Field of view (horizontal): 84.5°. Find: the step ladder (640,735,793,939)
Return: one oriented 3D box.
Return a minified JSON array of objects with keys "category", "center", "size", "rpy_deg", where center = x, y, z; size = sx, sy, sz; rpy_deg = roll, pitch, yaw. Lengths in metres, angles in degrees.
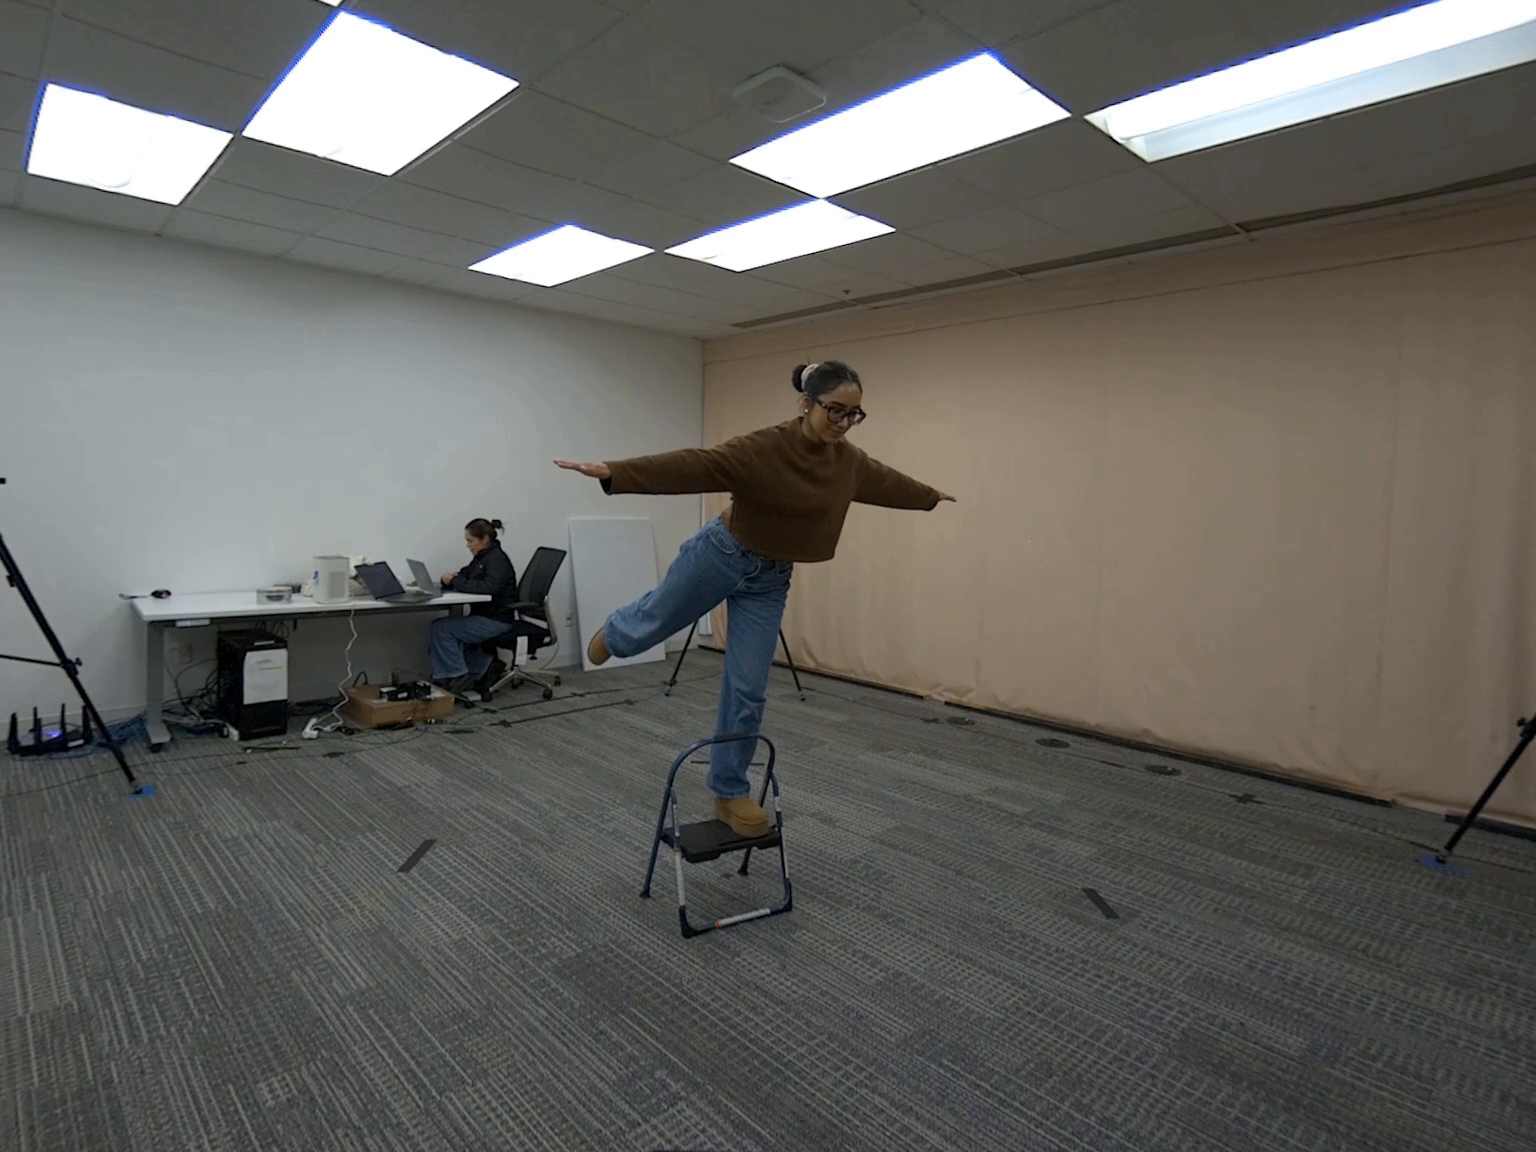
[{"category":"step ladder","center":[-0.177,0.825,2.879],"size":[0.421,0.604,0.357],"rpy_deg":[-1,4,-32]}]
